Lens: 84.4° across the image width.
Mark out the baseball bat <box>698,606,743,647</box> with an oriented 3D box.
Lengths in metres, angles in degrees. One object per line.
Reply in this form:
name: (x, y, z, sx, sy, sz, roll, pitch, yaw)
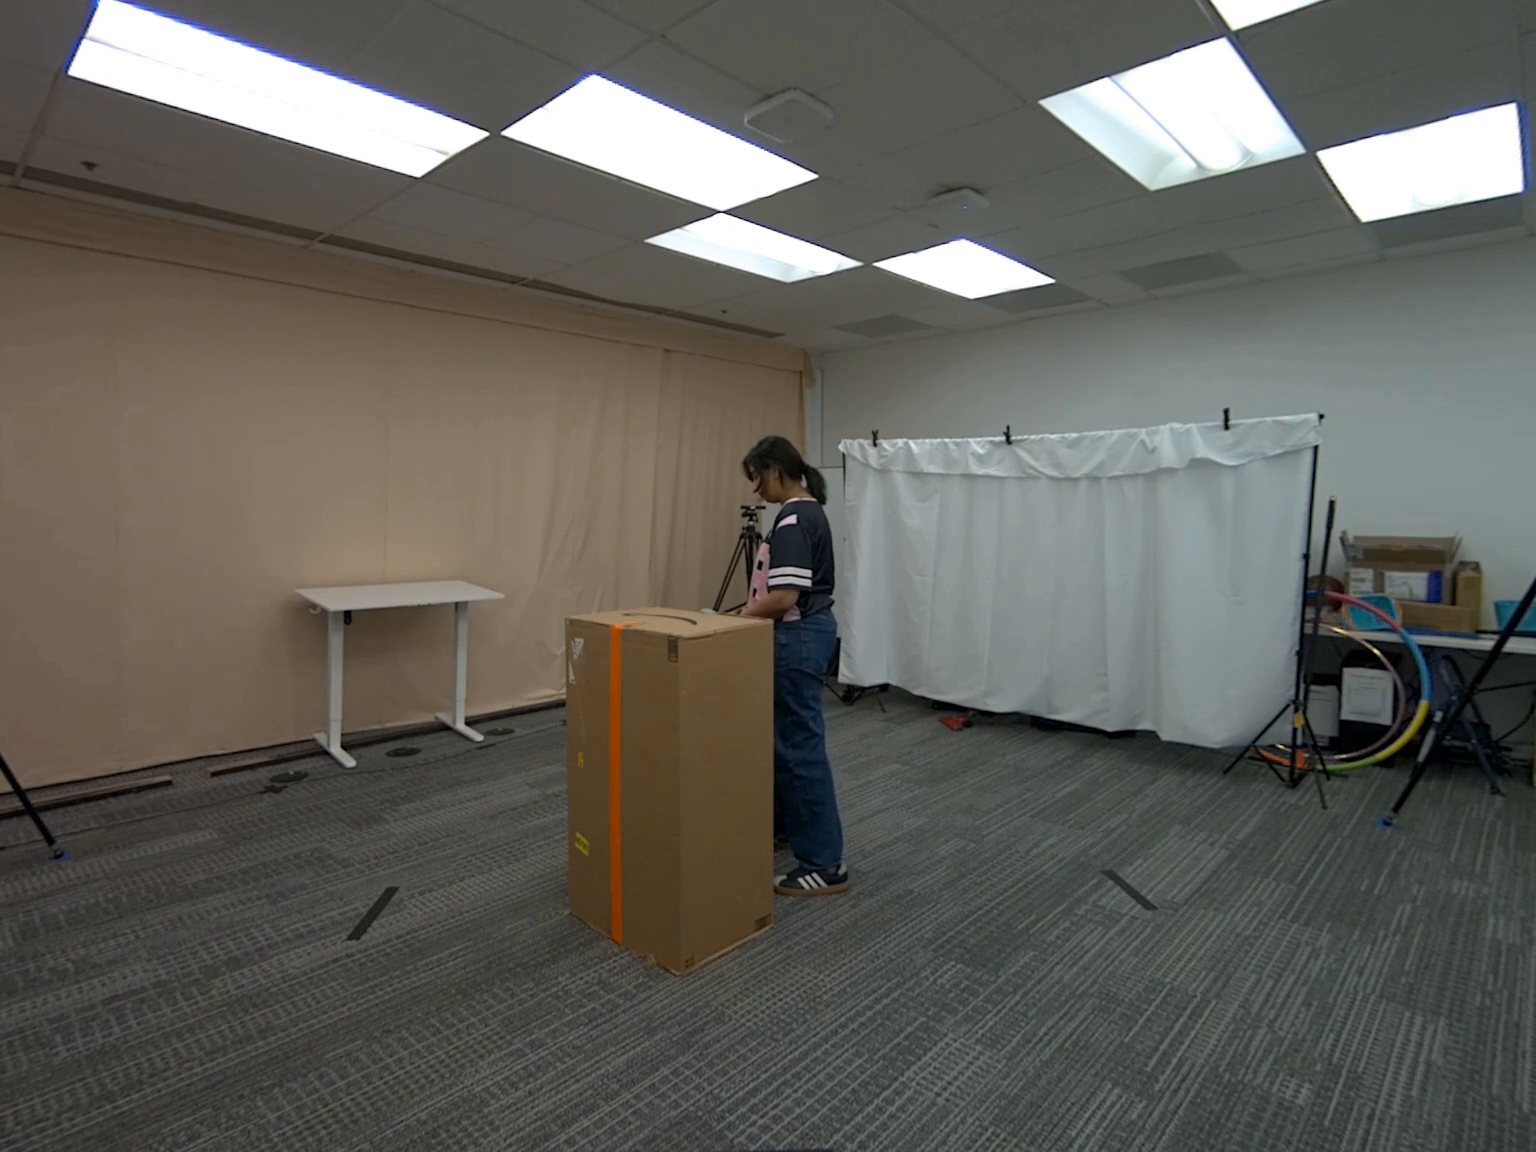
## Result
baseball bat: (-0.205, 0.200, 3.492, 0.088, 0.089, 0.551, -1, 5, -13)
